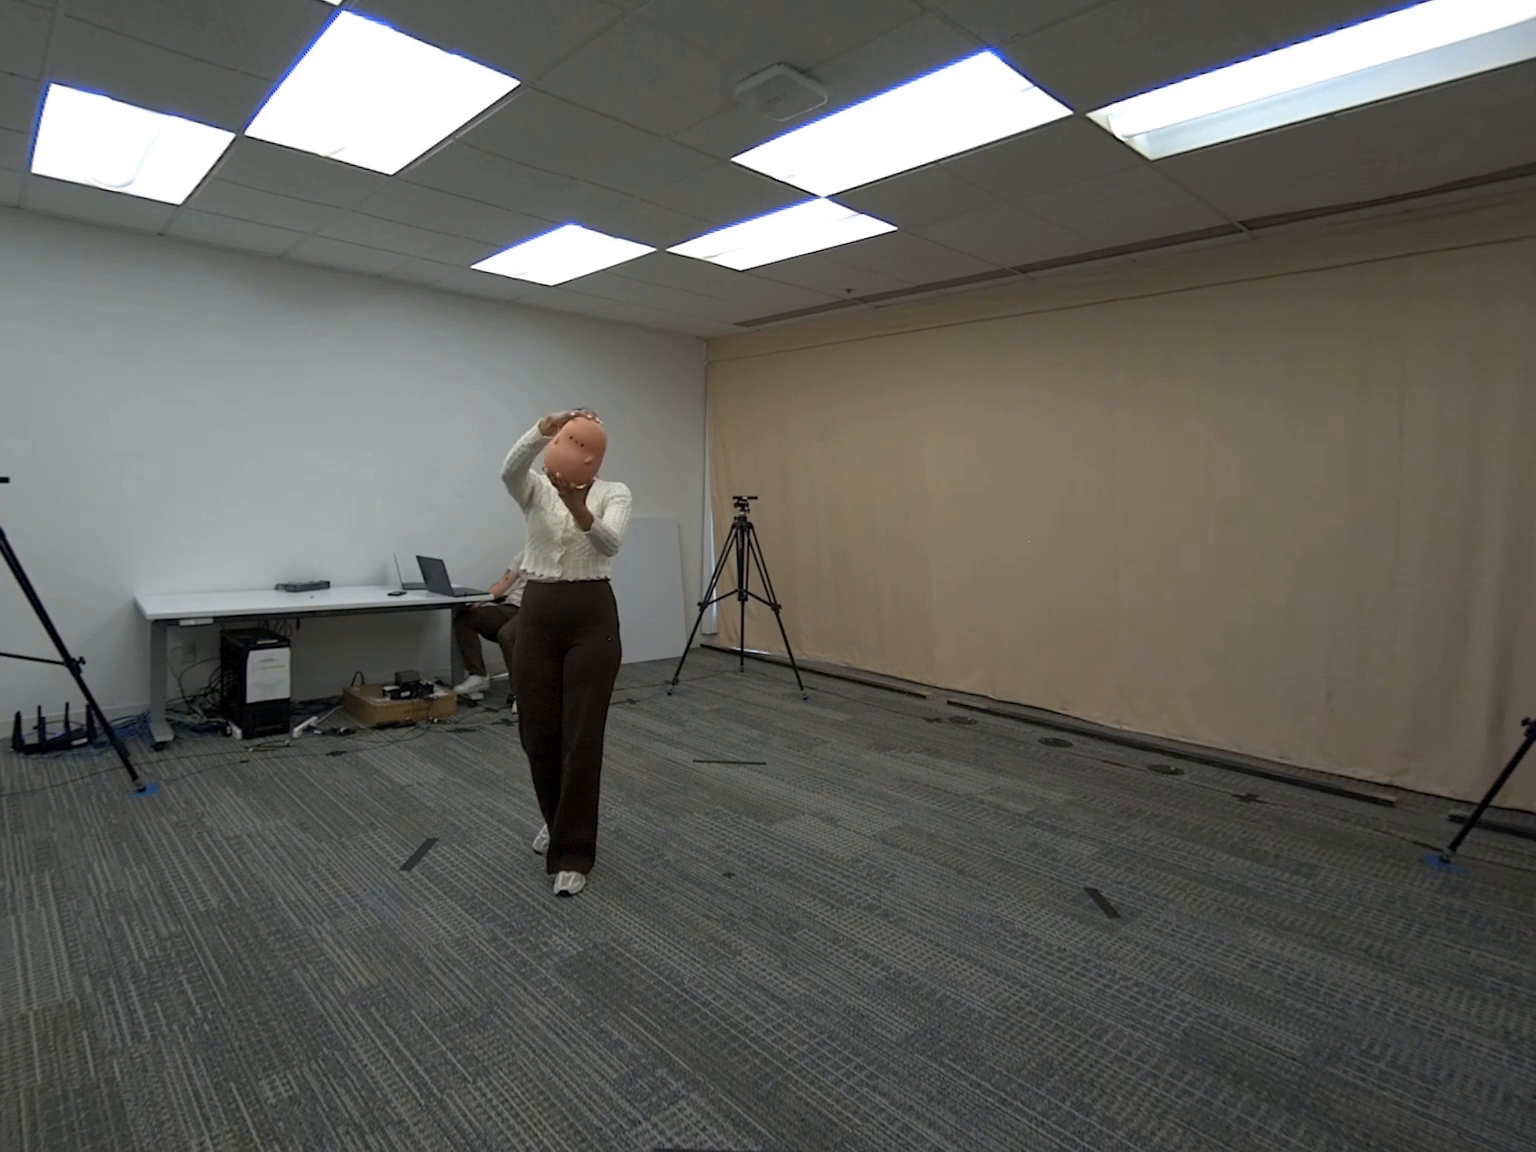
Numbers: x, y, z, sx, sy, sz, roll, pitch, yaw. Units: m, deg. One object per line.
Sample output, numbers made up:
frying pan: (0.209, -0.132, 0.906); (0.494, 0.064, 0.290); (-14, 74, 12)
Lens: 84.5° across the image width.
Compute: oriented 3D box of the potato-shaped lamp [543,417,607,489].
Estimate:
potato-shaped lamp: (-0.602, -0.386, 2.536); (0.172, 0.197, 0.164); (19, 7, 5)
